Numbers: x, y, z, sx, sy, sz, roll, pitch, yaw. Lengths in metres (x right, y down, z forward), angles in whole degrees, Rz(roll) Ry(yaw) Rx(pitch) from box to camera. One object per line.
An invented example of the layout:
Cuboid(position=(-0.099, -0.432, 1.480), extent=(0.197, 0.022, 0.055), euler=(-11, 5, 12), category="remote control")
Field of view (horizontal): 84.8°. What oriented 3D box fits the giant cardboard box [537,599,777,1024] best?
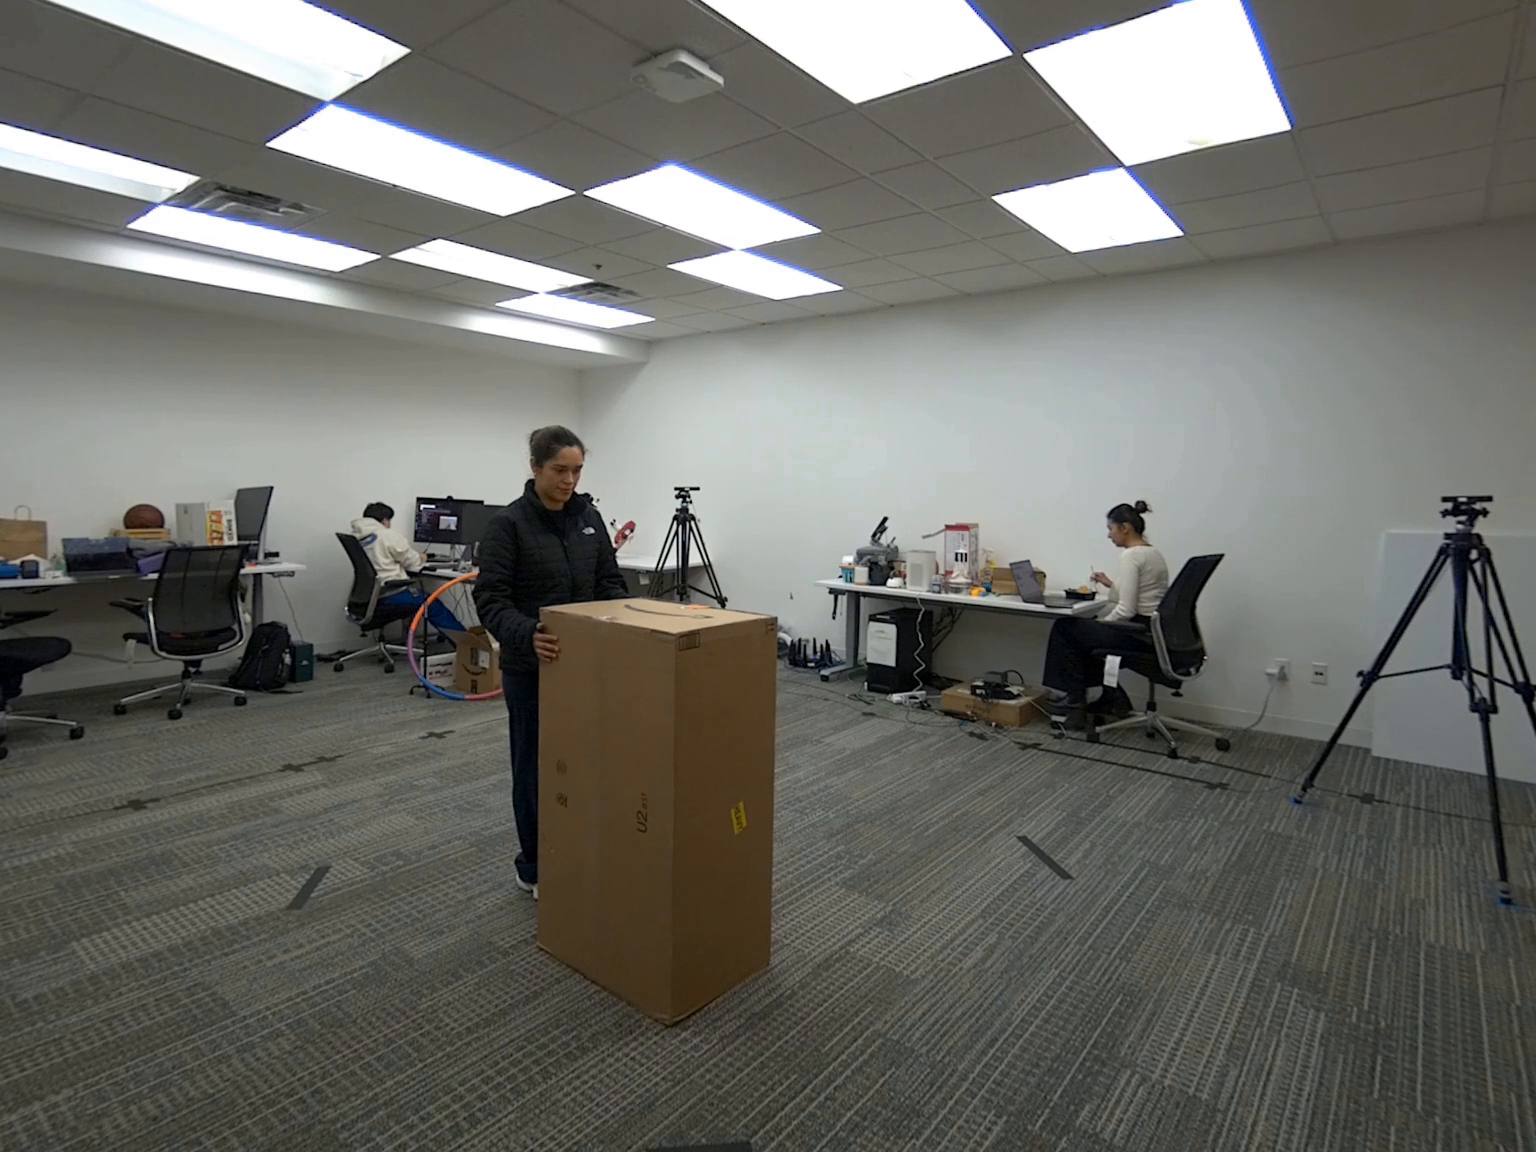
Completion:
Cuboid(position=(-0.321, 0.616, 2.514), extent=(0.597, 1.023, 0.413), euler=(4, 4, 41), category="giant cardboard box")
